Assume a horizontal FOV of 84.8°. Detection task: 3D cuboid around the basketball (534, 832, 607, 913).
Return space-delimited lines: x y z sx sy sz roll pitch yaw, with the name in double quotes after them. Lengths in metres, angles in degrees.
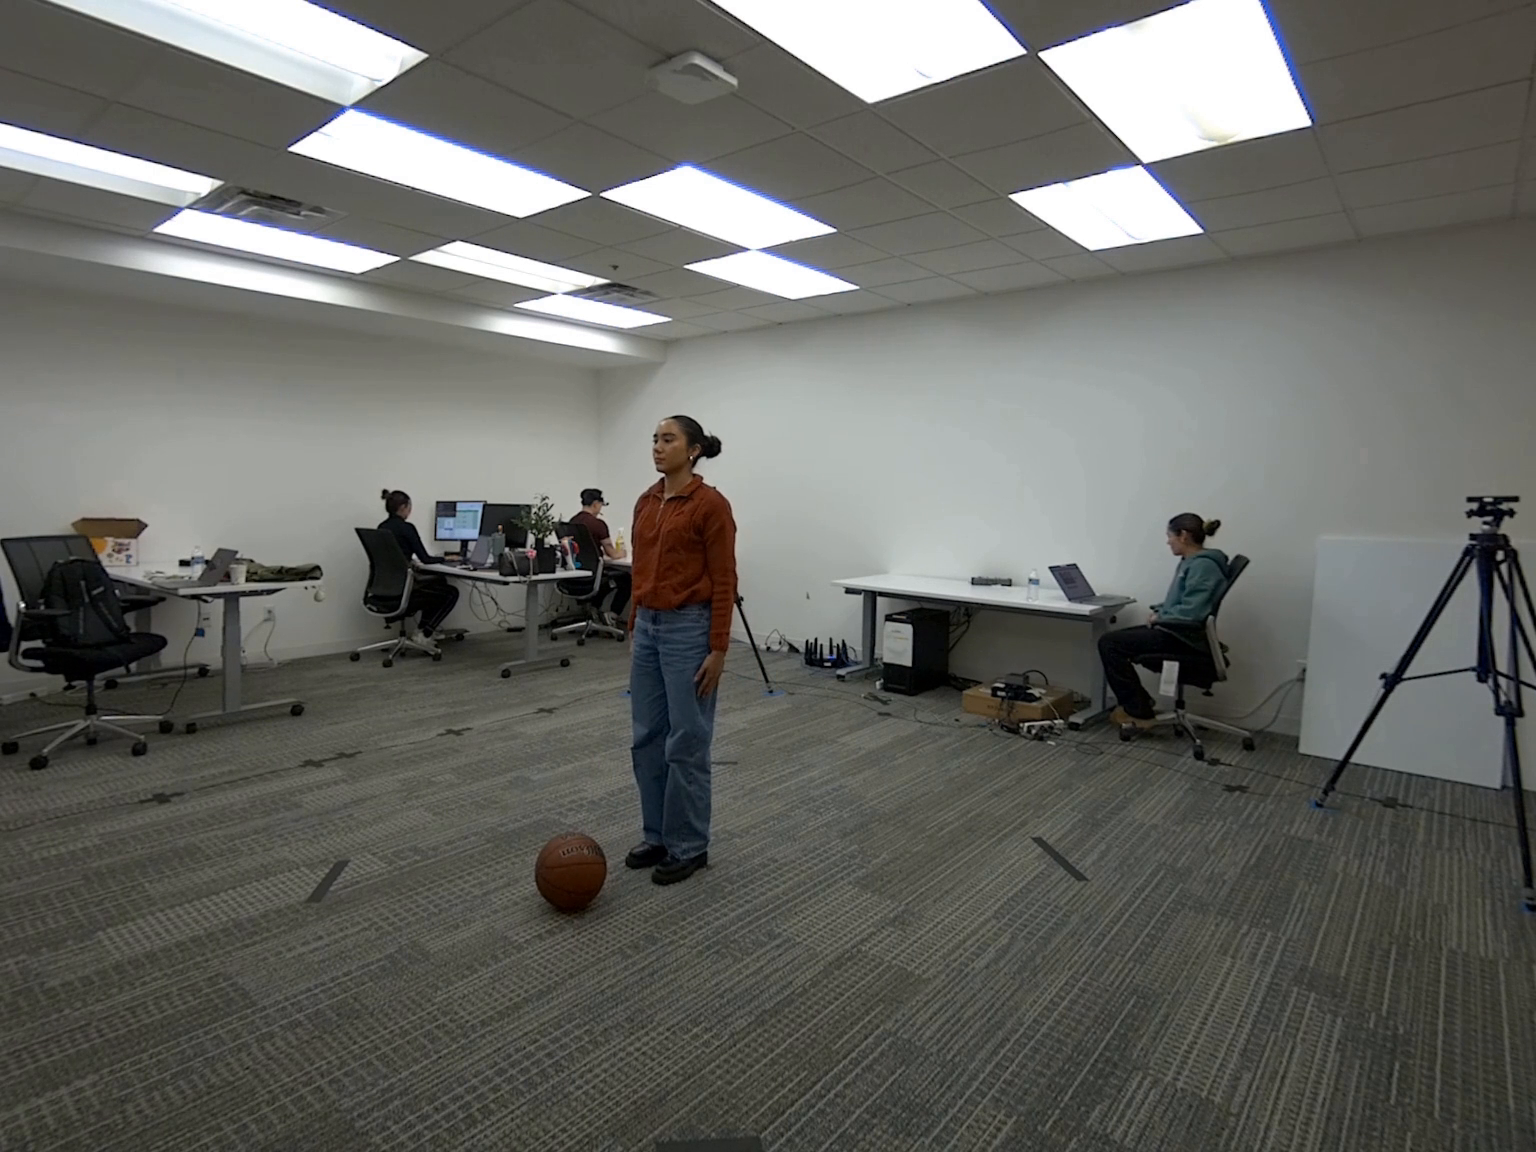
-0.658 0.971 2.809 0.235 0.235 0.237 1 4 -2 "basketball"
